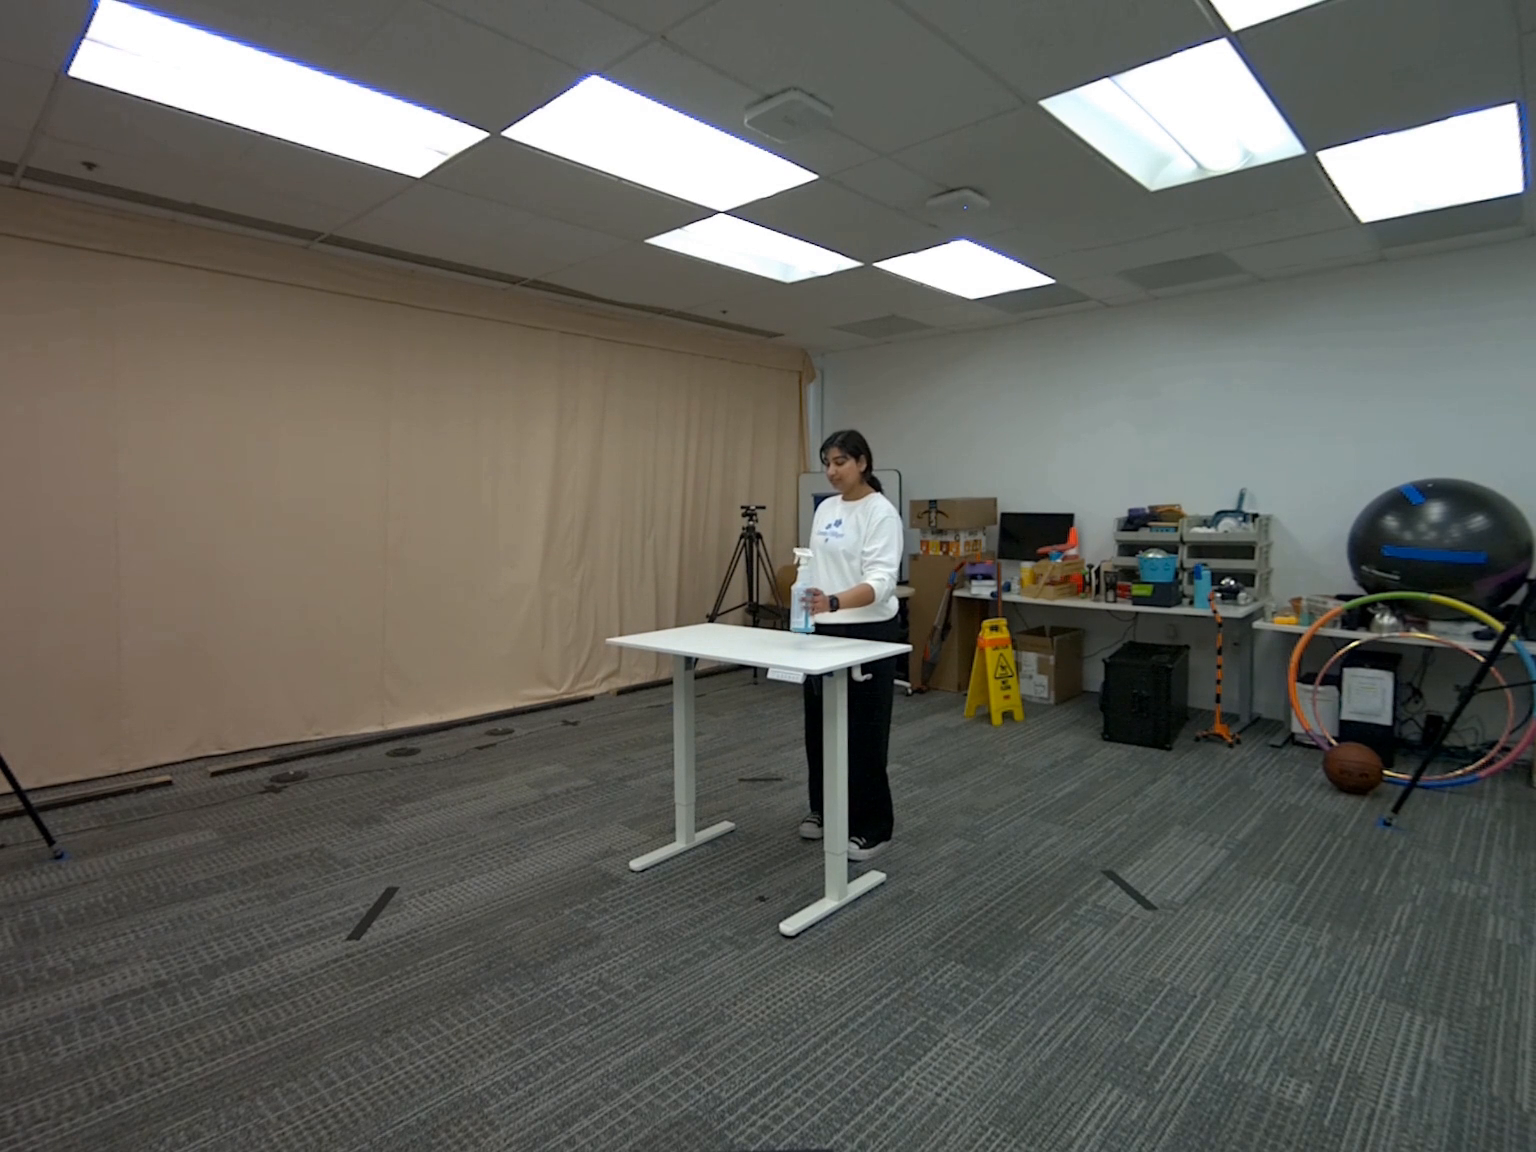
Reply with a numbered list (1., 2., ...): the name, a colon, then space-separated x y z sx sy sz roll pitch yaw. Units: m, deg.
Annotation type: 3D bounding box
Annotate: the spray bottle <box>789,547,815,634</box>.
1. spray bottle: 0.137 0.052 2.992 0.086 0.298 0.091 3 -2 -13
